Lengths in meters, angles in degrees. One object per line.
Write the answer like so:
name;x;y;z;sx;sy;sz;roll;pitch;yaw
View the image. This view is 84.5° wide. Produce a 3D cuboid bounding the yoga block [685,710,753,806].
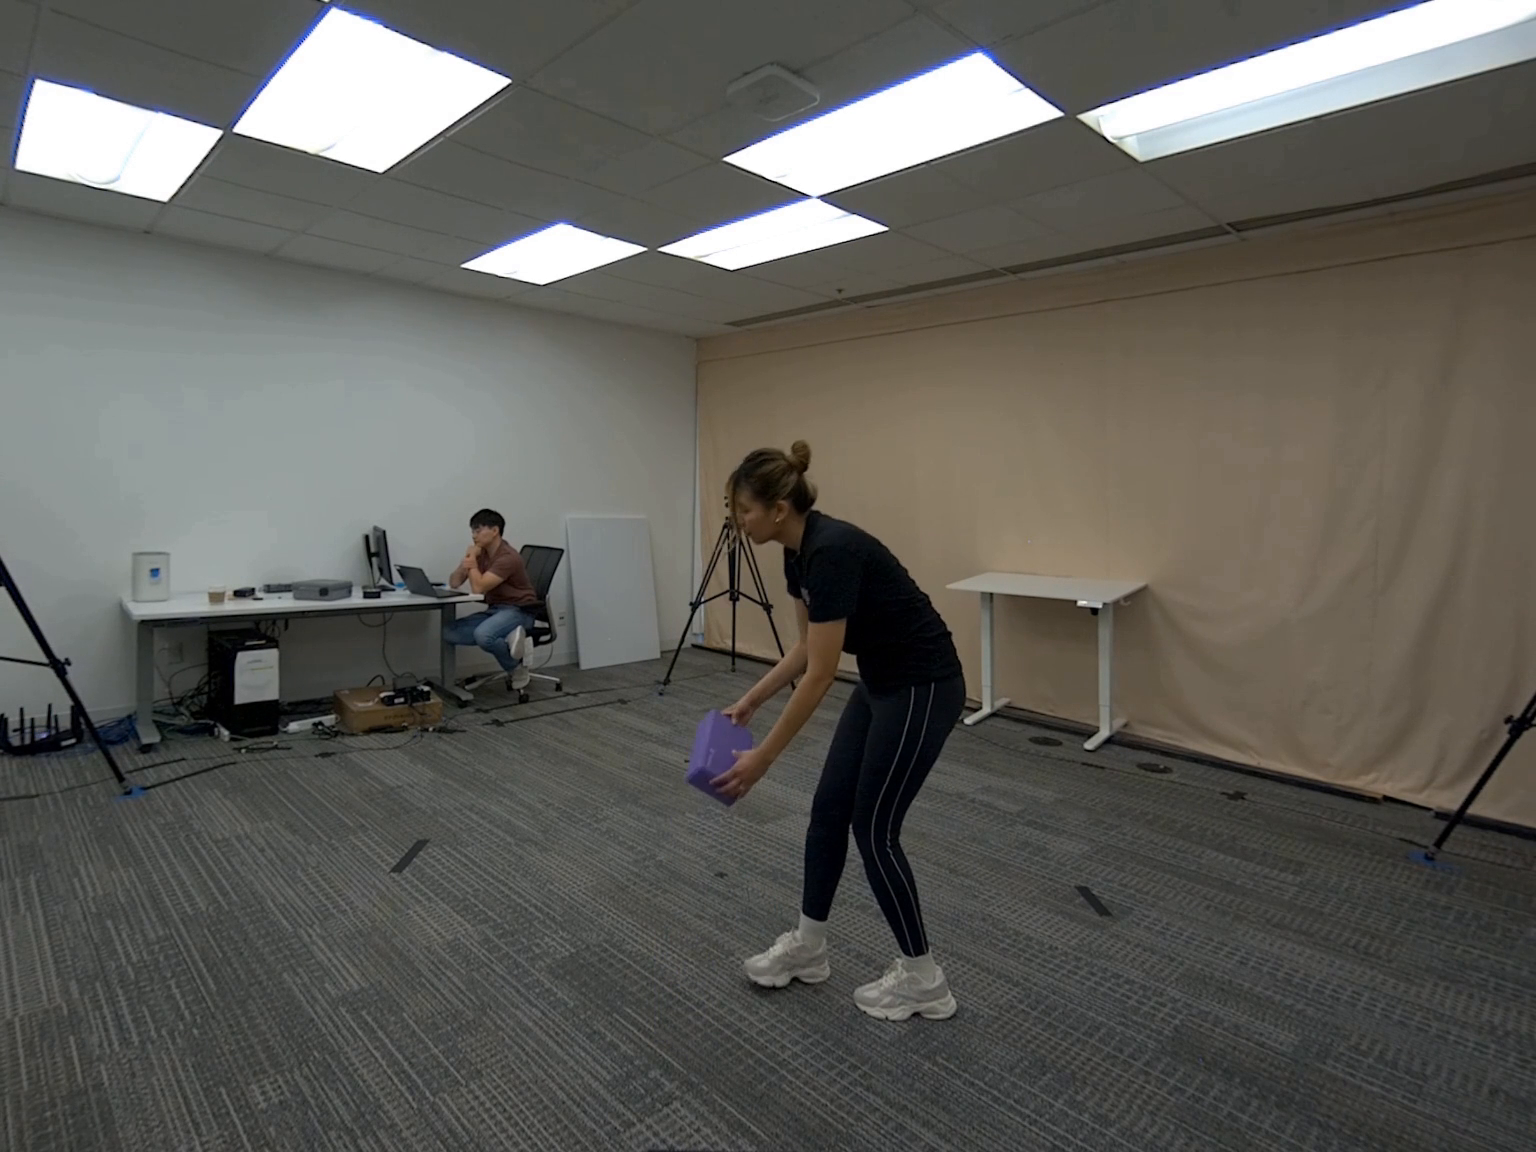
yoga block;-0.121;0.505;2.271;0.147;0.076;0.232;35;32;-14
